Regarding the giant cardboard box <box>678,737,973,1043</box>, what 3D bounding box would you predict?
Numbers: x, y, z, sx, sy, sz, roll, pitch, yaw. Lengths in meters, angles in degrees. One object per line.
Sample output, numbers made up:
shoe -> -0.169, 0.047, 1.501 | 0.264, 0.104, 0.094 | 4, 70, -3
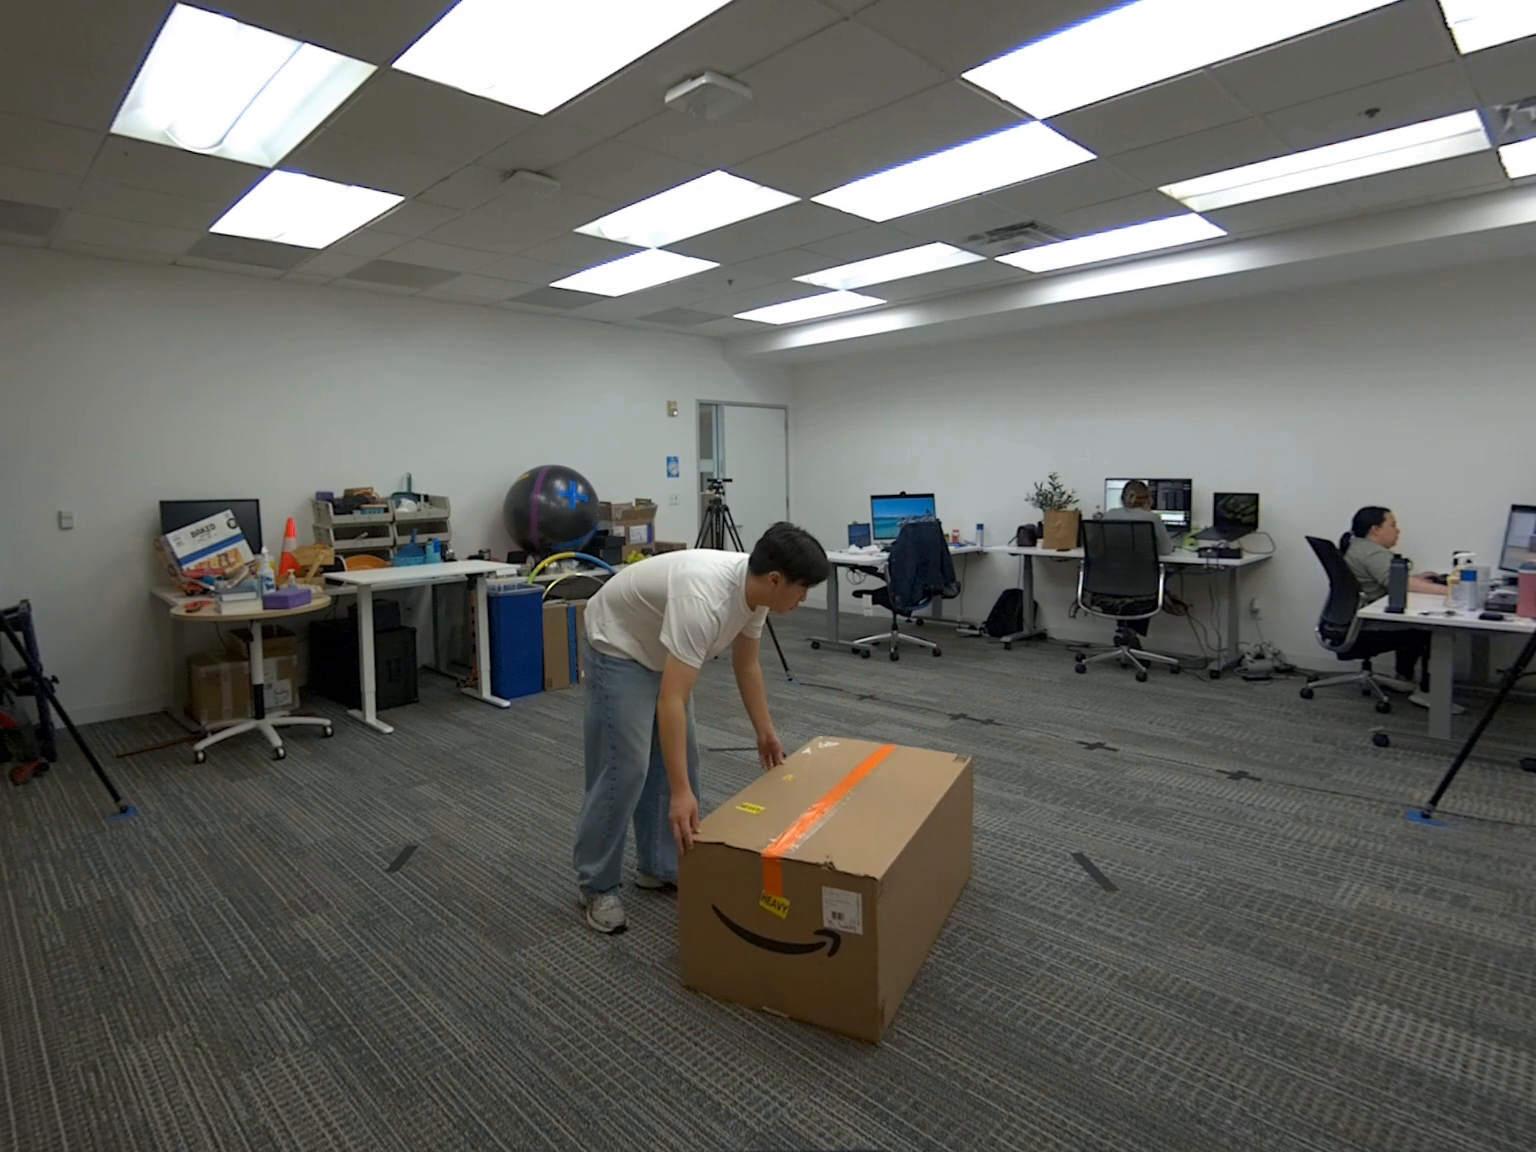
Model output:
giant cardboard box -> 0.237, 0.878, 2.661 | 0.591, 0.424, 1.006 | 1, 6, 27
